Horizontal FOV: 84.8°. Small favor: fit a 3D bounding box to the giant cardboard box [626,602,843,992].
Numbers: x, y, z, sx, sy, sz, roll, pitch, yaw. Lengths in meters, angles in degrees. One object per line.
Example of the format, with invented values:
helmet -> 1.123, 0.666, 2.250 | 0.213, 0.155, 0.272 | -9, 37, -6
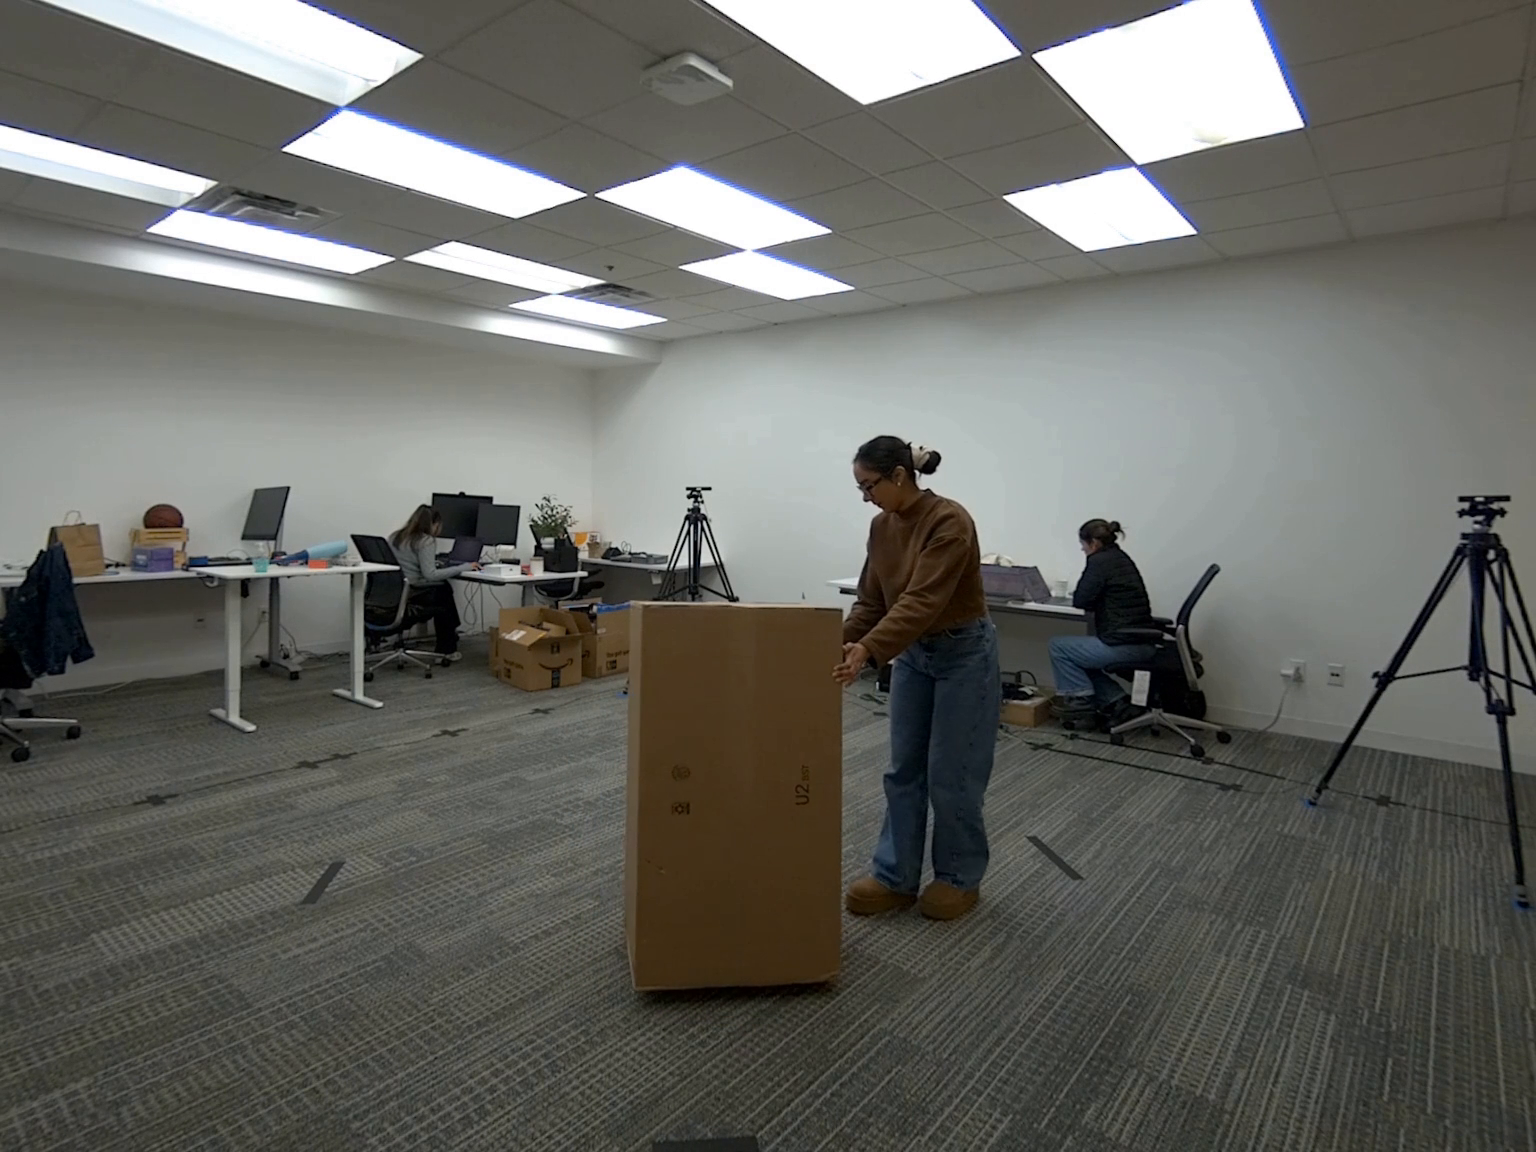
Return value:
giant cardboard box -> -0.121, 0.596, 2.526 | 0.571, 1.029, 0.430 | 1, -3, -11
